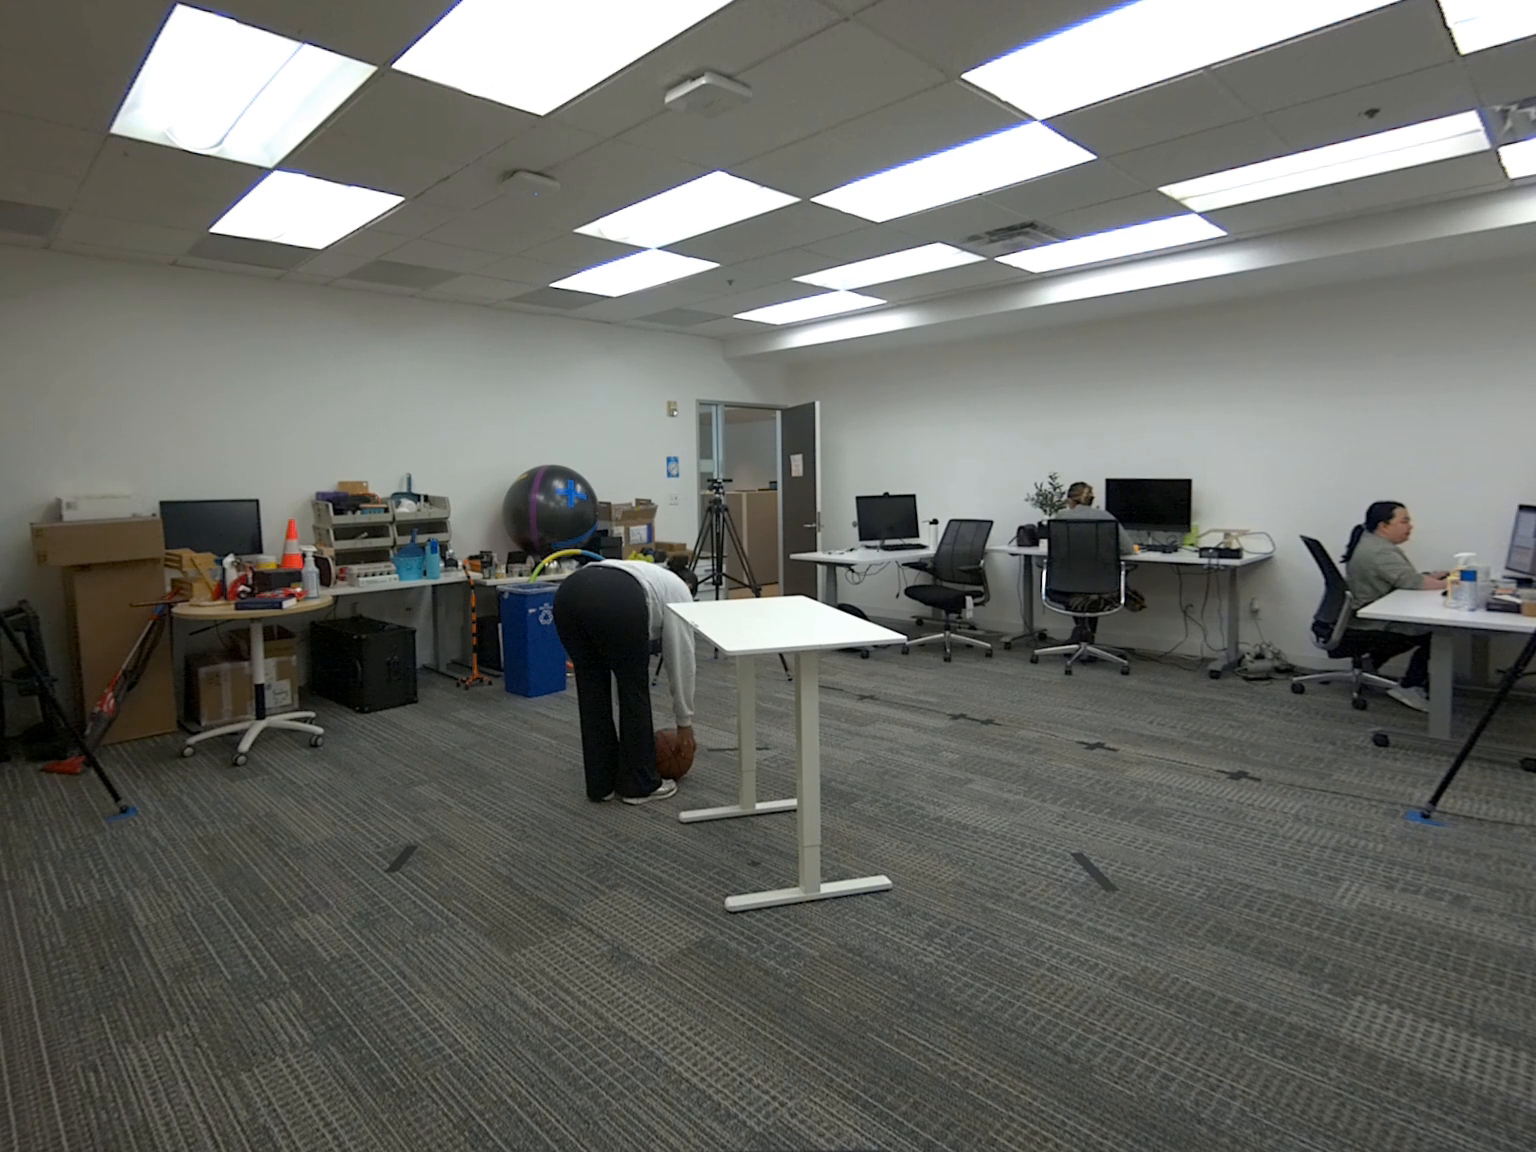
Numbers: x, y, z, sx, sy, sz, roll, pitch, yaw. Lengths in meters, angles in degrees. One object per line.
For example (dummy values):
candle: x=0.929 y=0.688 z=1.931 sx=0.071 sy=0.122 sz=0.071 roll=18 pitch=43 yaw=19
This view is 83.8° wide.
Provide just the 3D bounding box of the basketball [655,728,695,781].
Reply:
basketball: x=-0.463 y=0.830 z=4.007 sx=0.236 sy=0.235 sz=0.237 roll=-1 pitch=5 yaw=-2
